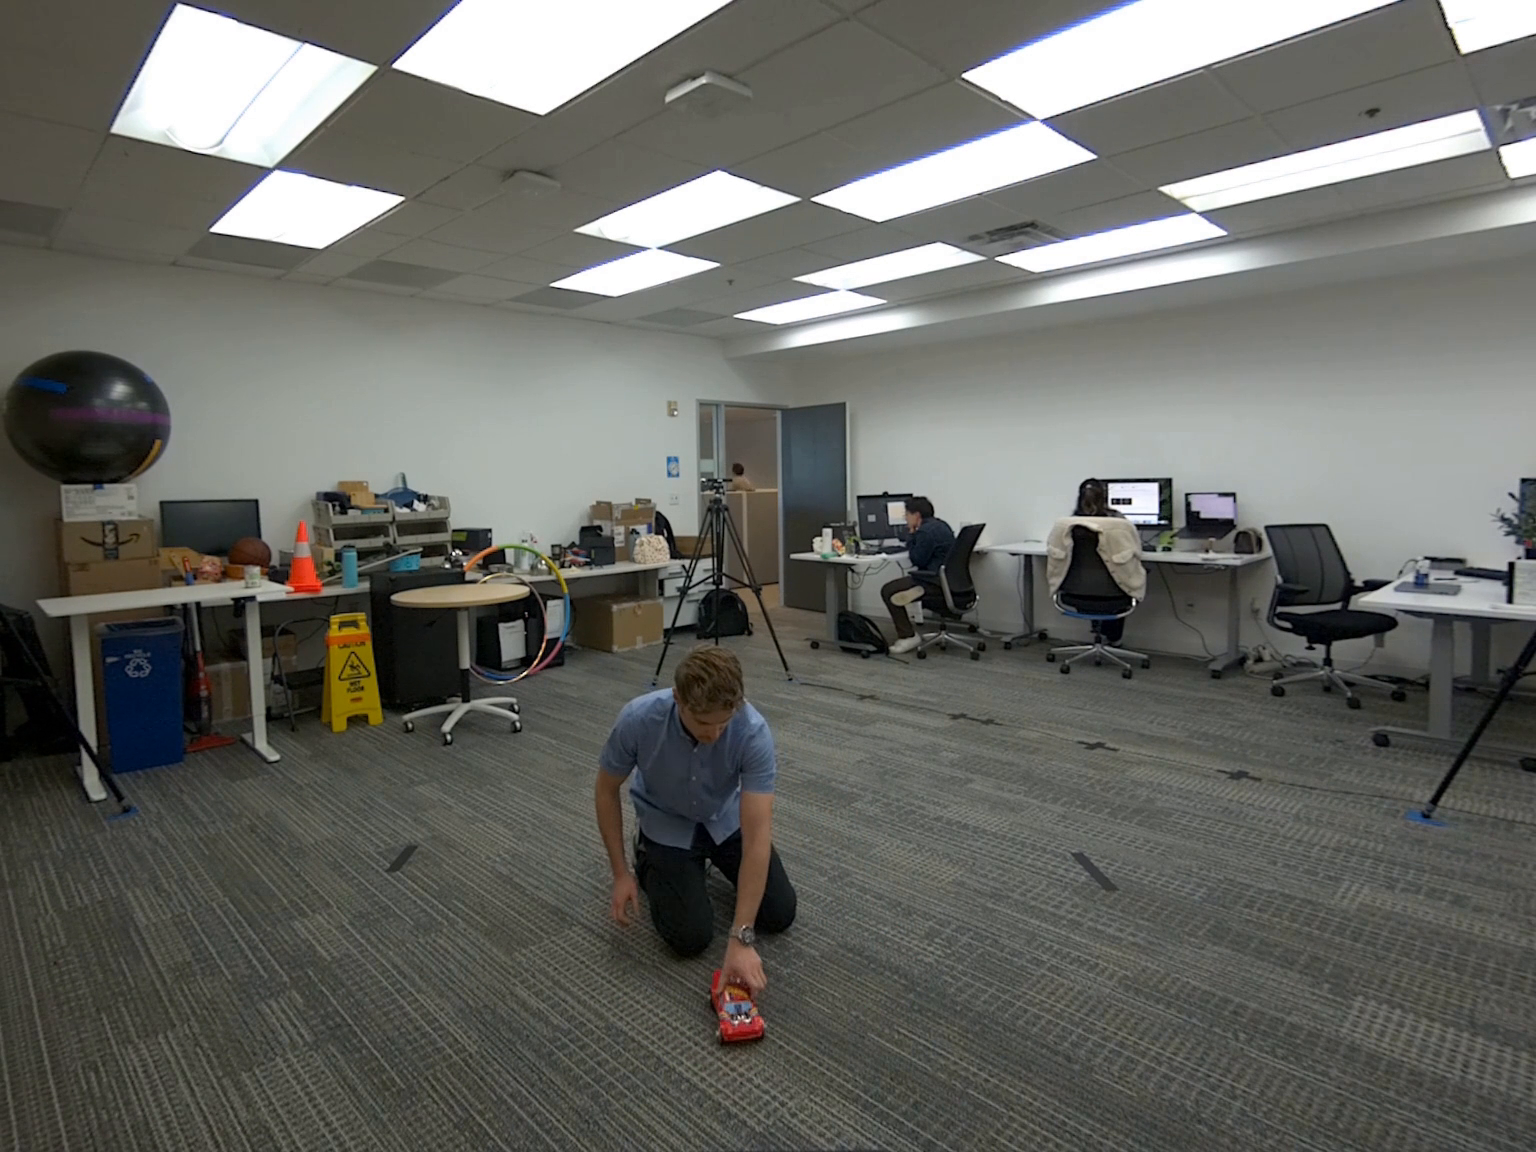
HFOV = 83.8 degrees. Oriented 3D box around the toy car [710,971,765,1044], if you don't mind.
[{"bbox_3d":[-0.083,1.122,2.225,0.129,0.082,0.260,-3,18,-10],"label":"toy car"}]
